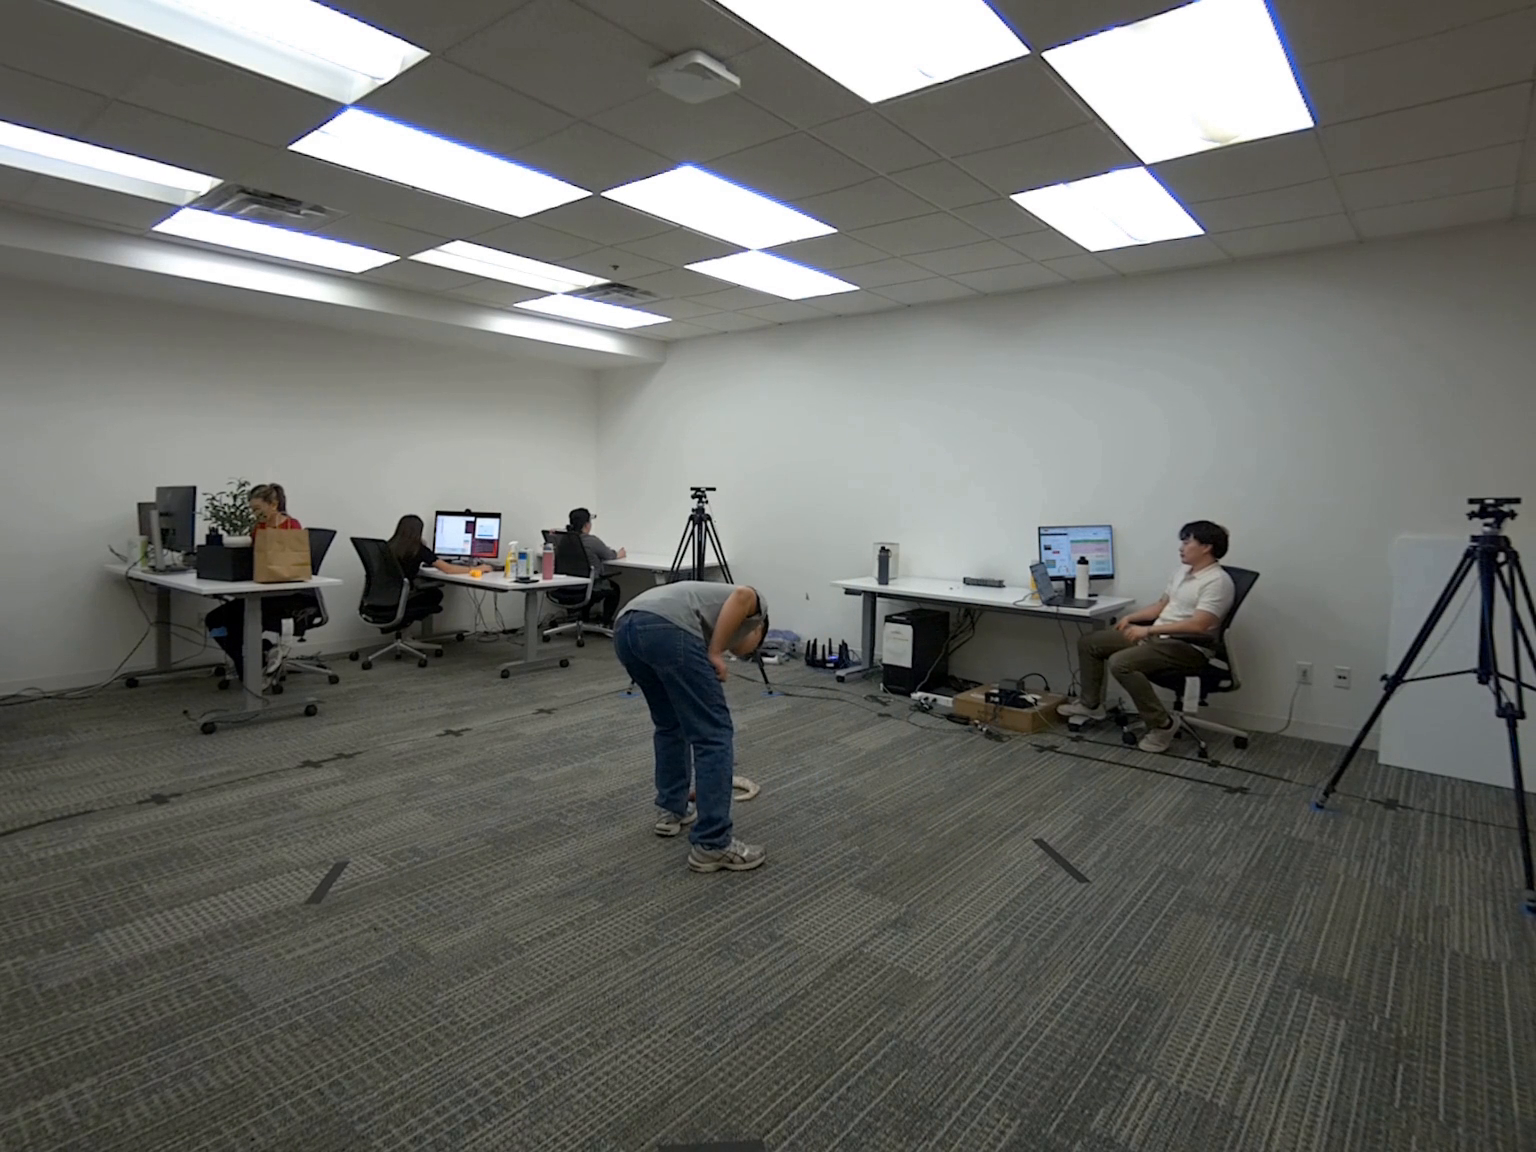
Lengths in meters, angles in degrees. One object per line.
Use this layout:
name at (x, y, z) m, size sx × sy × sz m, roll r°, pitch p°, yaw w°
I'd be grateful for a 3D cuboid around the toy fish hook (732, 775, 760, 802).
toy fish hook at (-0.257, 0.966, 3.795) m, size 0.491 × 0.048 × 0.232 m, roll -5°, pitch 7°, yaw -43°
